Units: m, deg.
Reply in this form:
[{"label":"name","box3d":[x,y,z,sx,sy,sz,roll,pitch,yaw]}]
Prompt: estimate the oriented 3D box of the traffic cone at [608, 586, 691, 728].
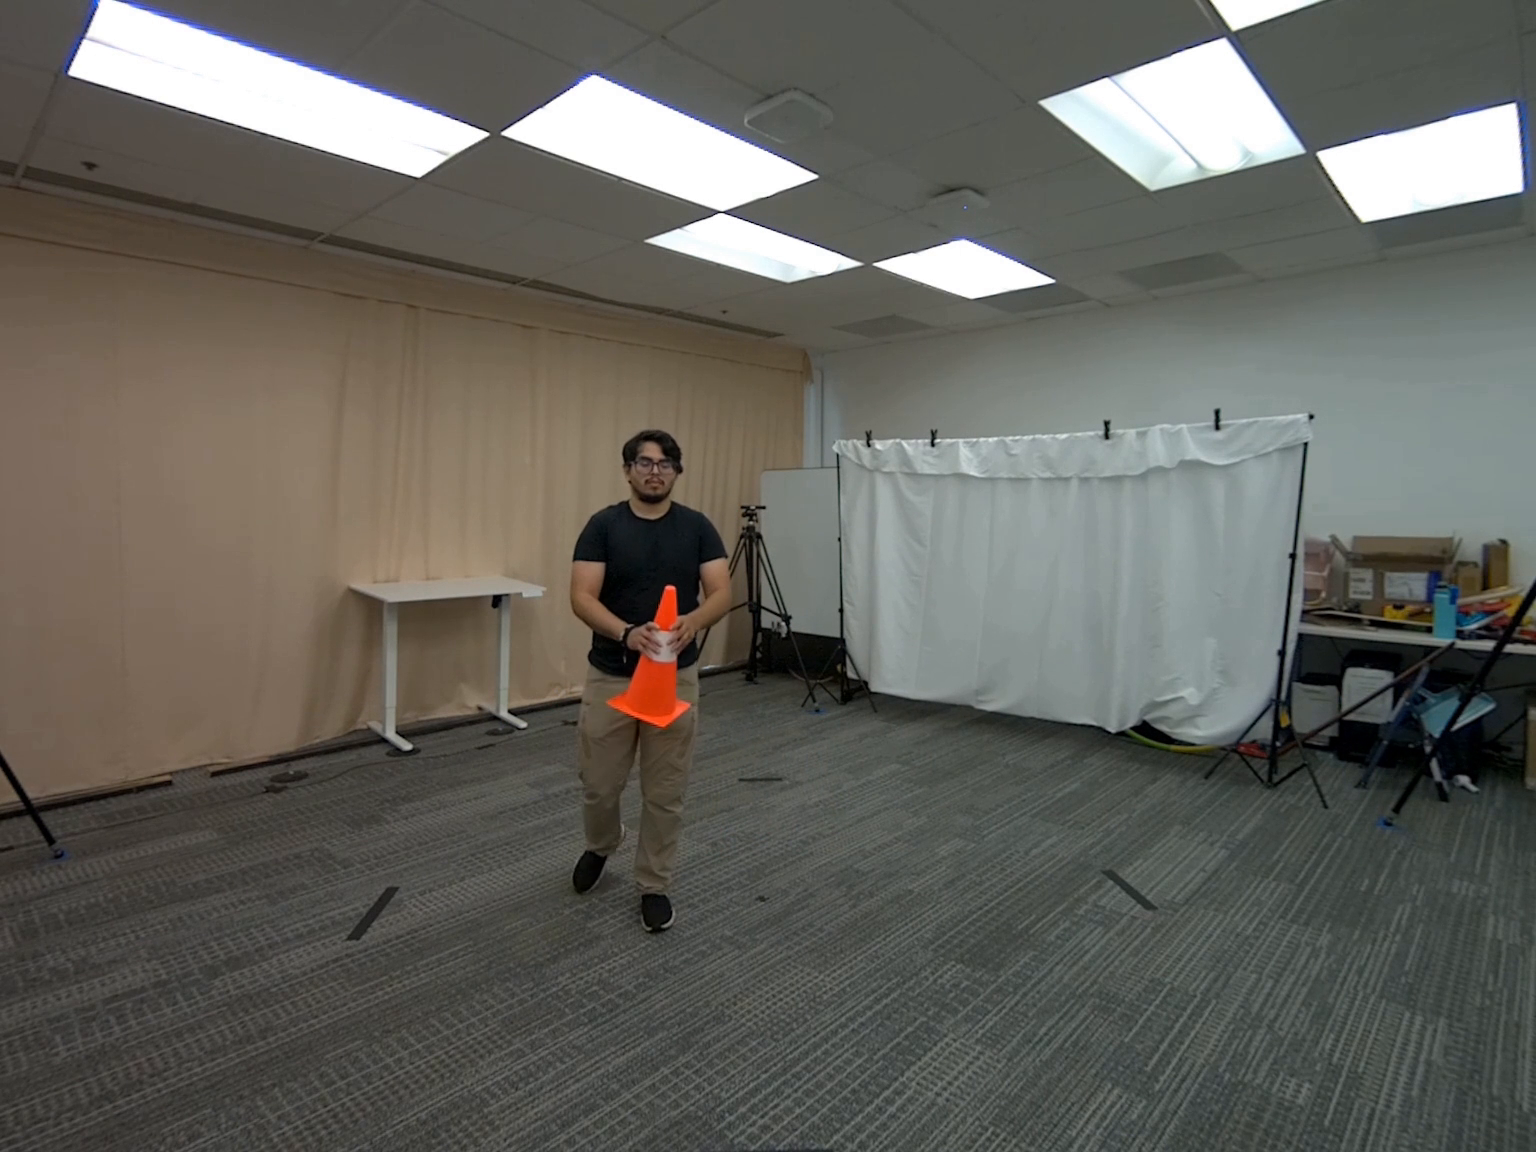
[{"label":"traffic cone","box3d":[-0.320,0.213,2.485,0.209,0.381,0.200,17,17,26]}]
